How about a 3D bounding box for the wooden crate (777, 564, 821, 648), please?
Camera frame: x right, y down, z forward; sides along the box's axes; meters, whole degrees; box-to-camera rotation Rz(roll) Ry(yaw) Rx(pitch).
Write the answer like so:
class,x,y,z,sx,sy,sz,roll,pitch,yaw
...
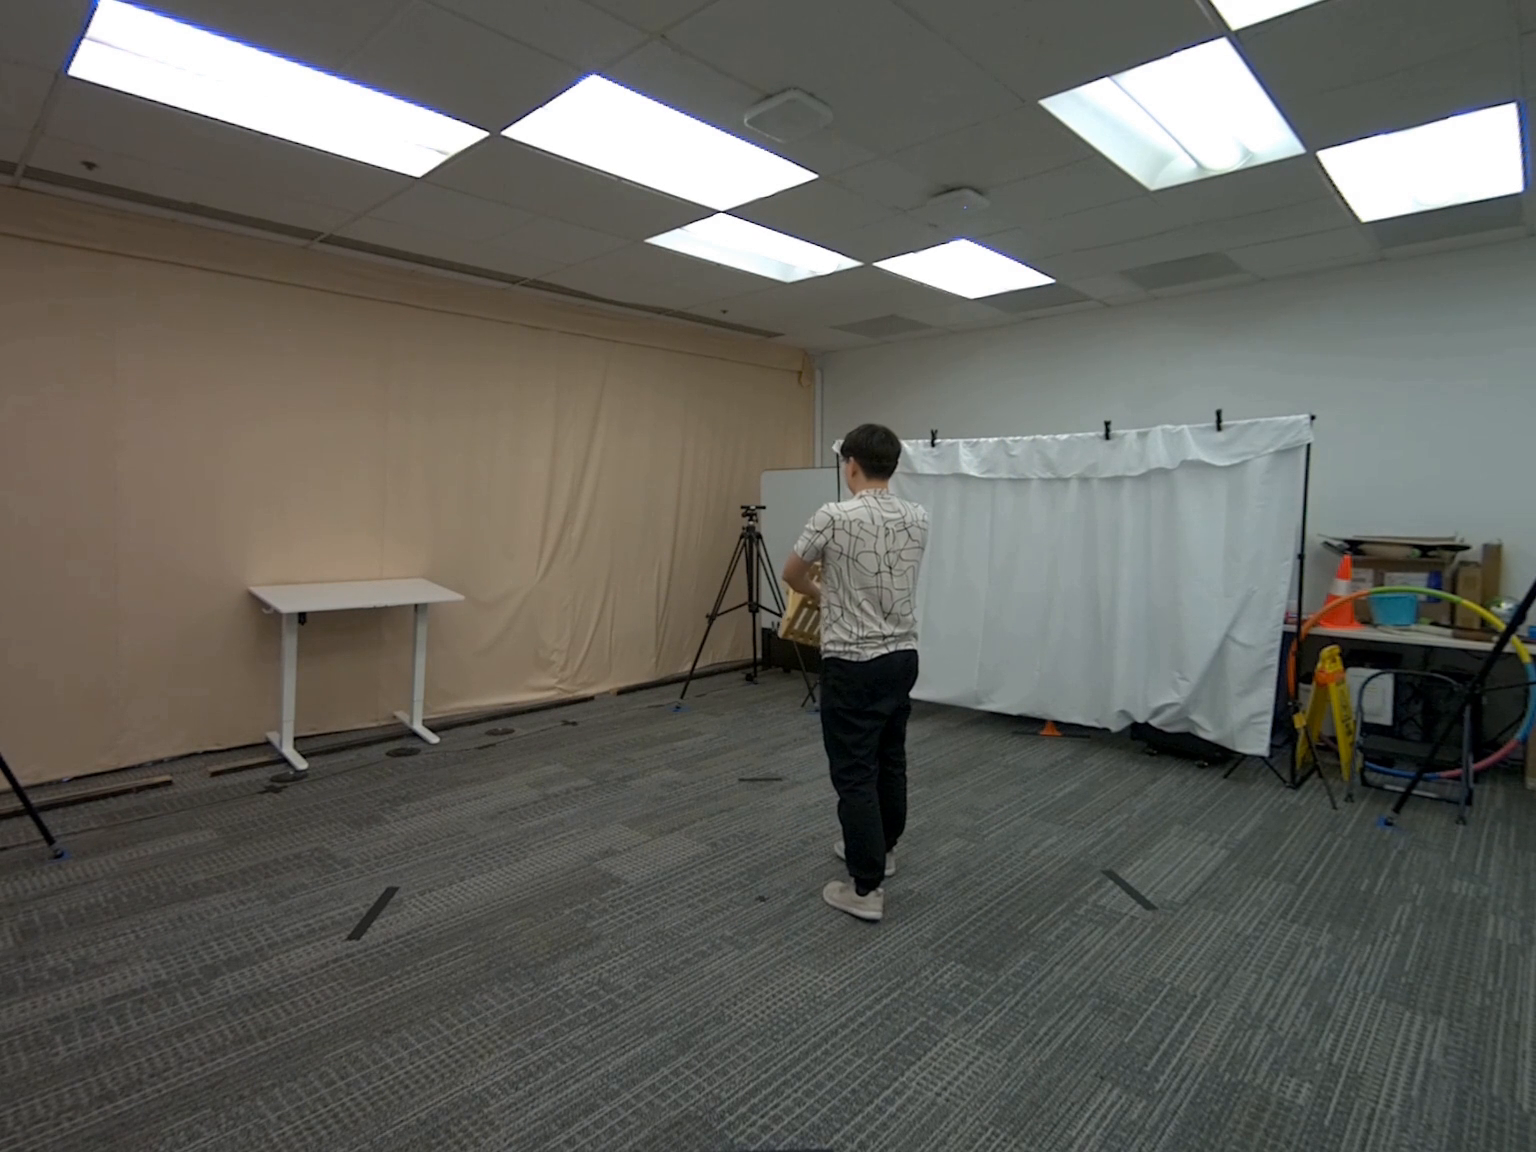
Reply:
class,x,y,z,sx,sy,sz,roll,pitch,yaw
wooden crate,0.234,0.103,3.453,0.320,0.300,0.278,12,36,-11
